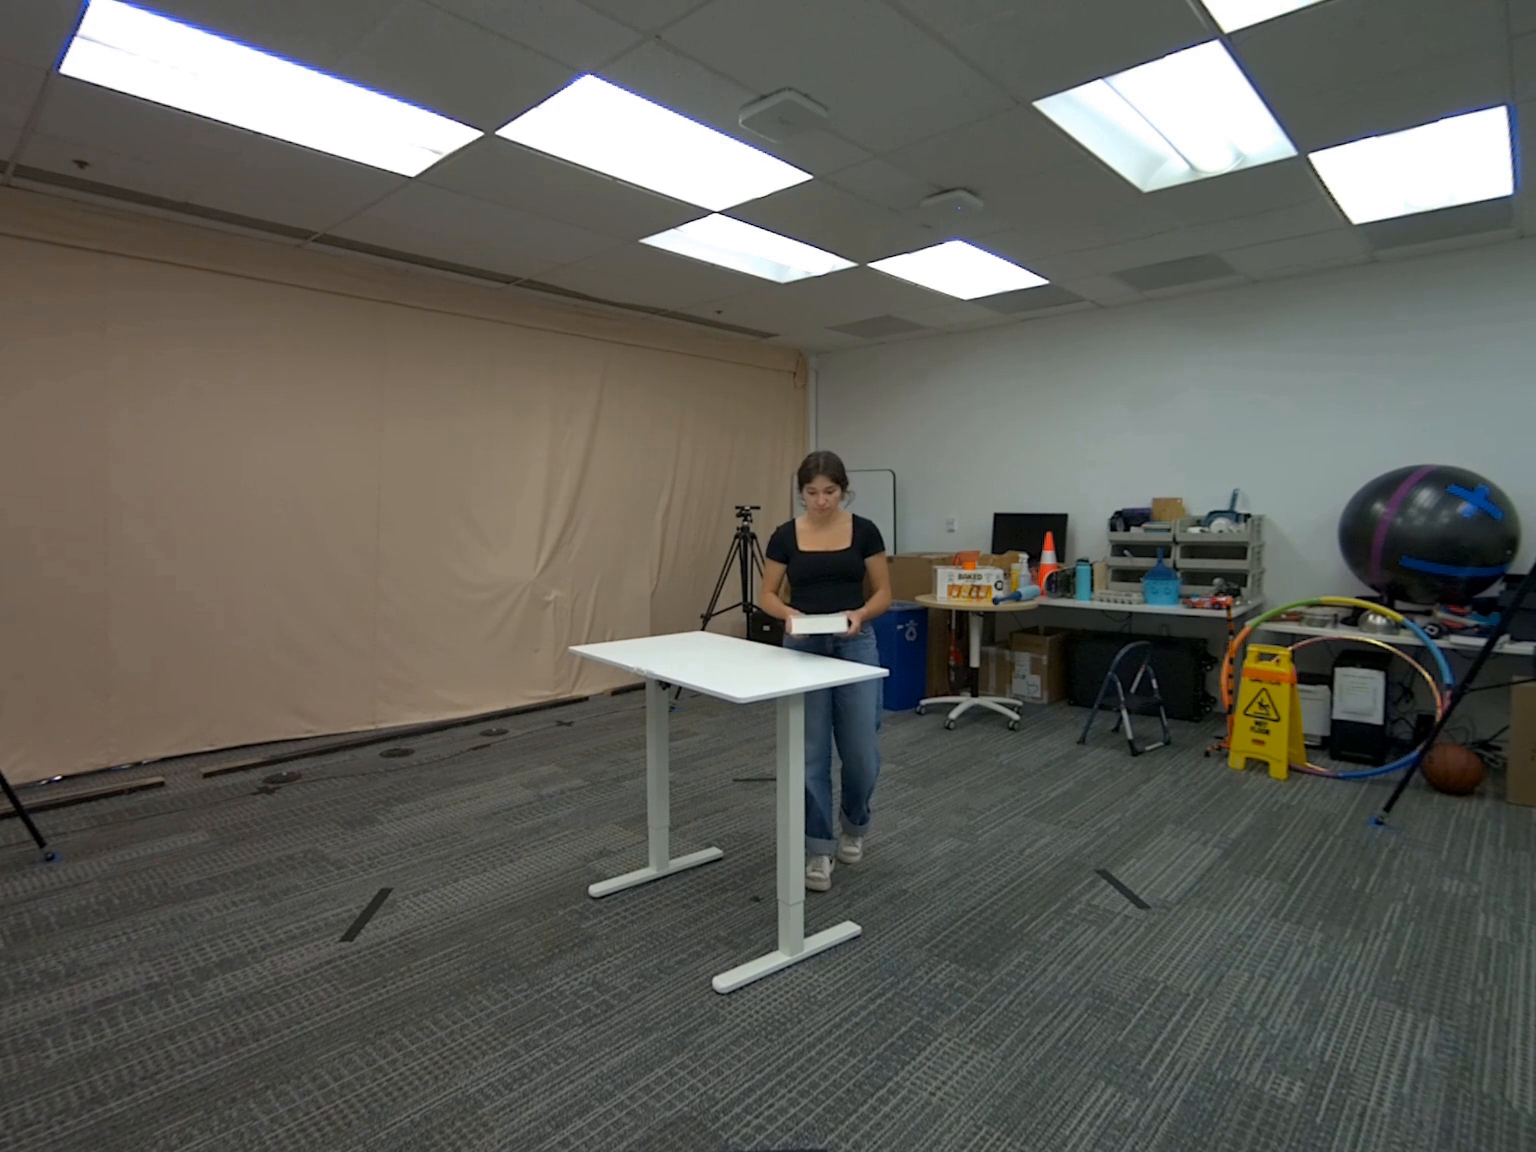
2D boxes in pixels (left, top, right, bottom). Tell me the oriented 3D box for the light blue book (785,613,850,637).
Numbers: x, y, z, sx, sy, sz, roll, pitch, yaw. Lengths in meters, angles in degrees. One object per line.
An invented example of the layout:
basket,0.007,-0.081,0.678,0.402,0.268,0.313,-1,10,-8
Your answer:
light blue book,0.189,0.173,2.920,0.193,0.059,0.258,-1,-6,6
